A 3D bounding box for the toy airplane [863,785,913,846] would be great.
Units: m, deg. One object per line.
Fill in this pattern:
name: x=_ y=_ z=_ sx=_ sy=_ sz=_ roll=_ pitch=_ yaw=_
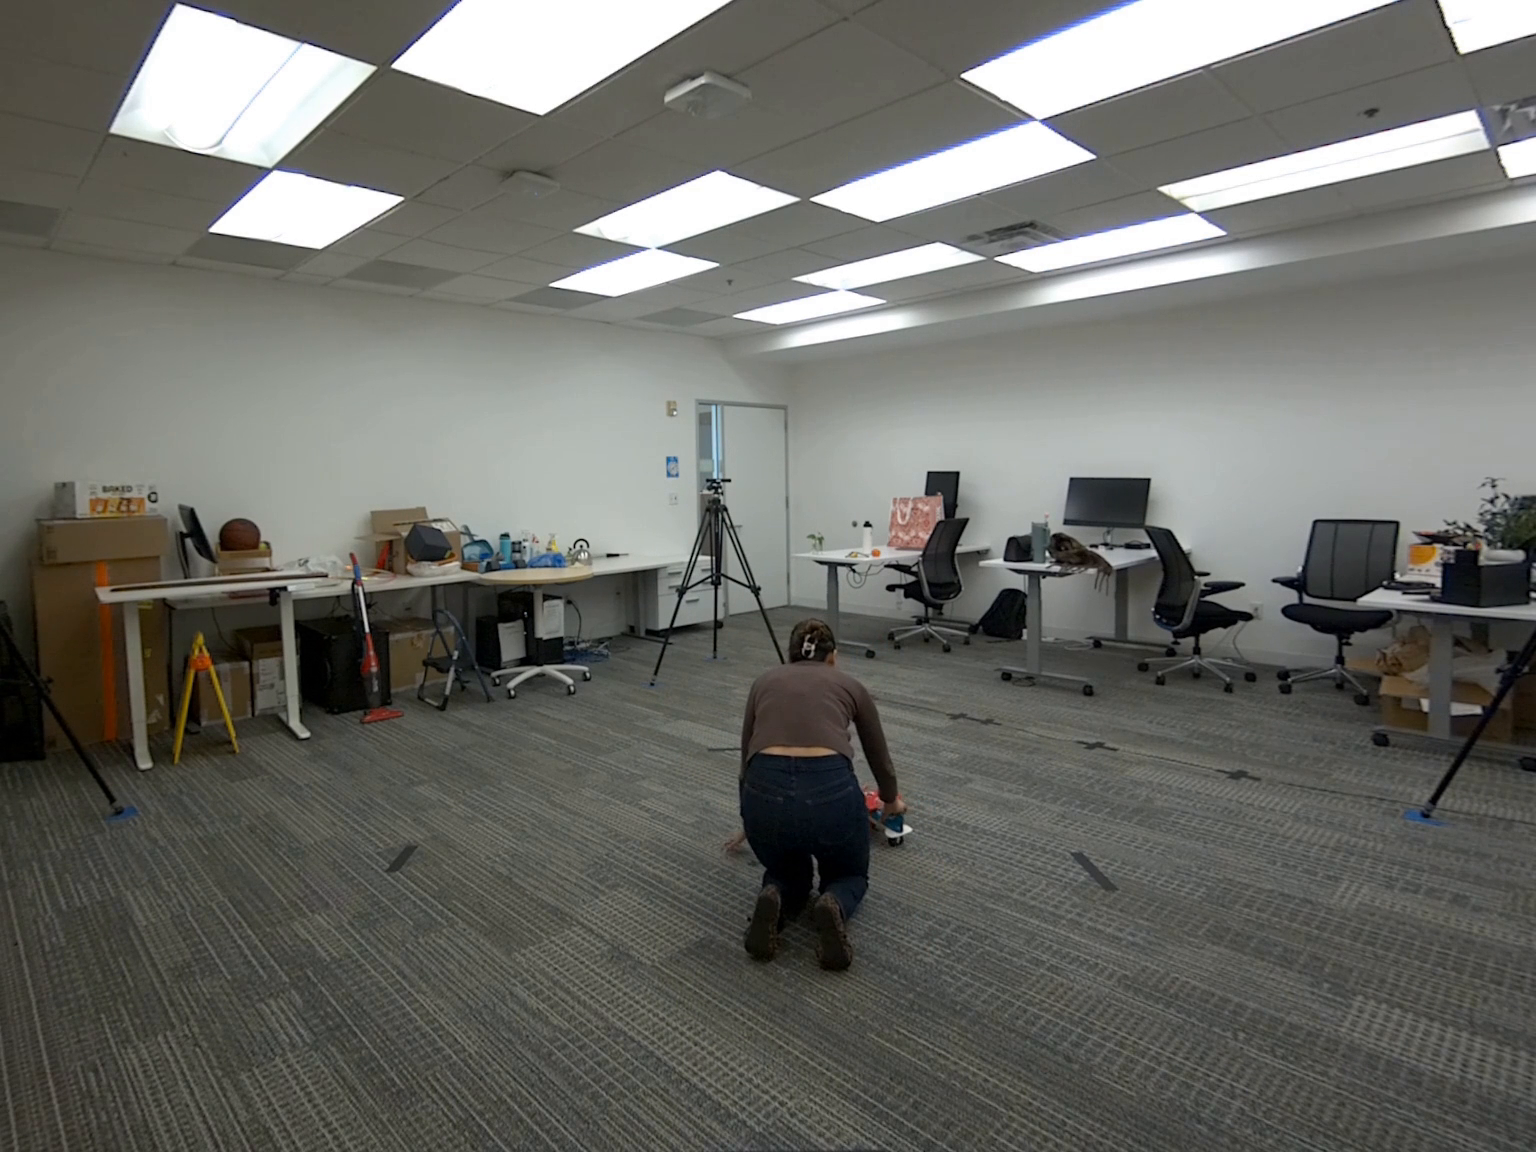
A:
toy airplane: x=0.443 y=0.936 z=3.328 sx=0.265 sy=0.156 sz=0.246 roll=0 pitch=4 yaw=28
